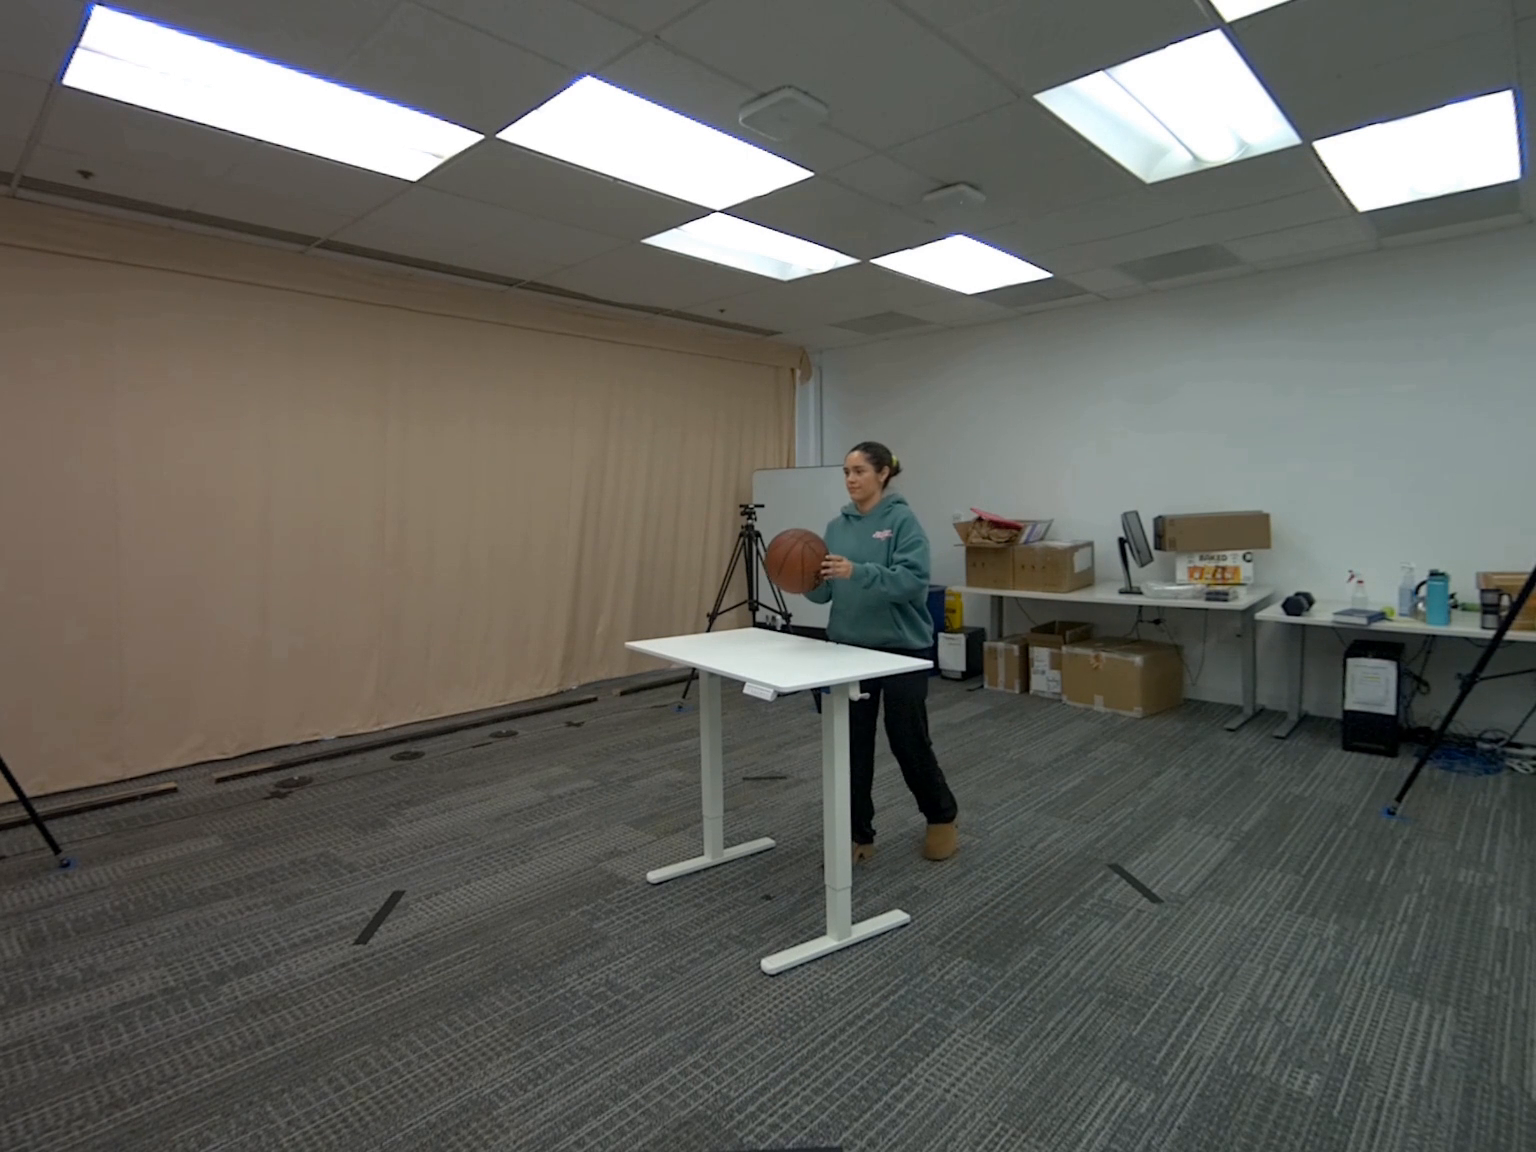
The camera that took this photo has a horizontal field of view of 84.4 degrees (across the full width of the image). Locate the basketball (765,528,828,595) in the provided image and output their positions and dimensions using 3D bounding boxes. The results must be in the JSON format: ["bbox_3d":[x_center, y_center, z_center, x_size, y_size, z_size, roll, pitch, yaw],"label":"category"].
[{"bbox_3d":[0.117,-0.053,3.018,0.236,0.235,0.237,-1,4,-2],"label":"basketball"}]
